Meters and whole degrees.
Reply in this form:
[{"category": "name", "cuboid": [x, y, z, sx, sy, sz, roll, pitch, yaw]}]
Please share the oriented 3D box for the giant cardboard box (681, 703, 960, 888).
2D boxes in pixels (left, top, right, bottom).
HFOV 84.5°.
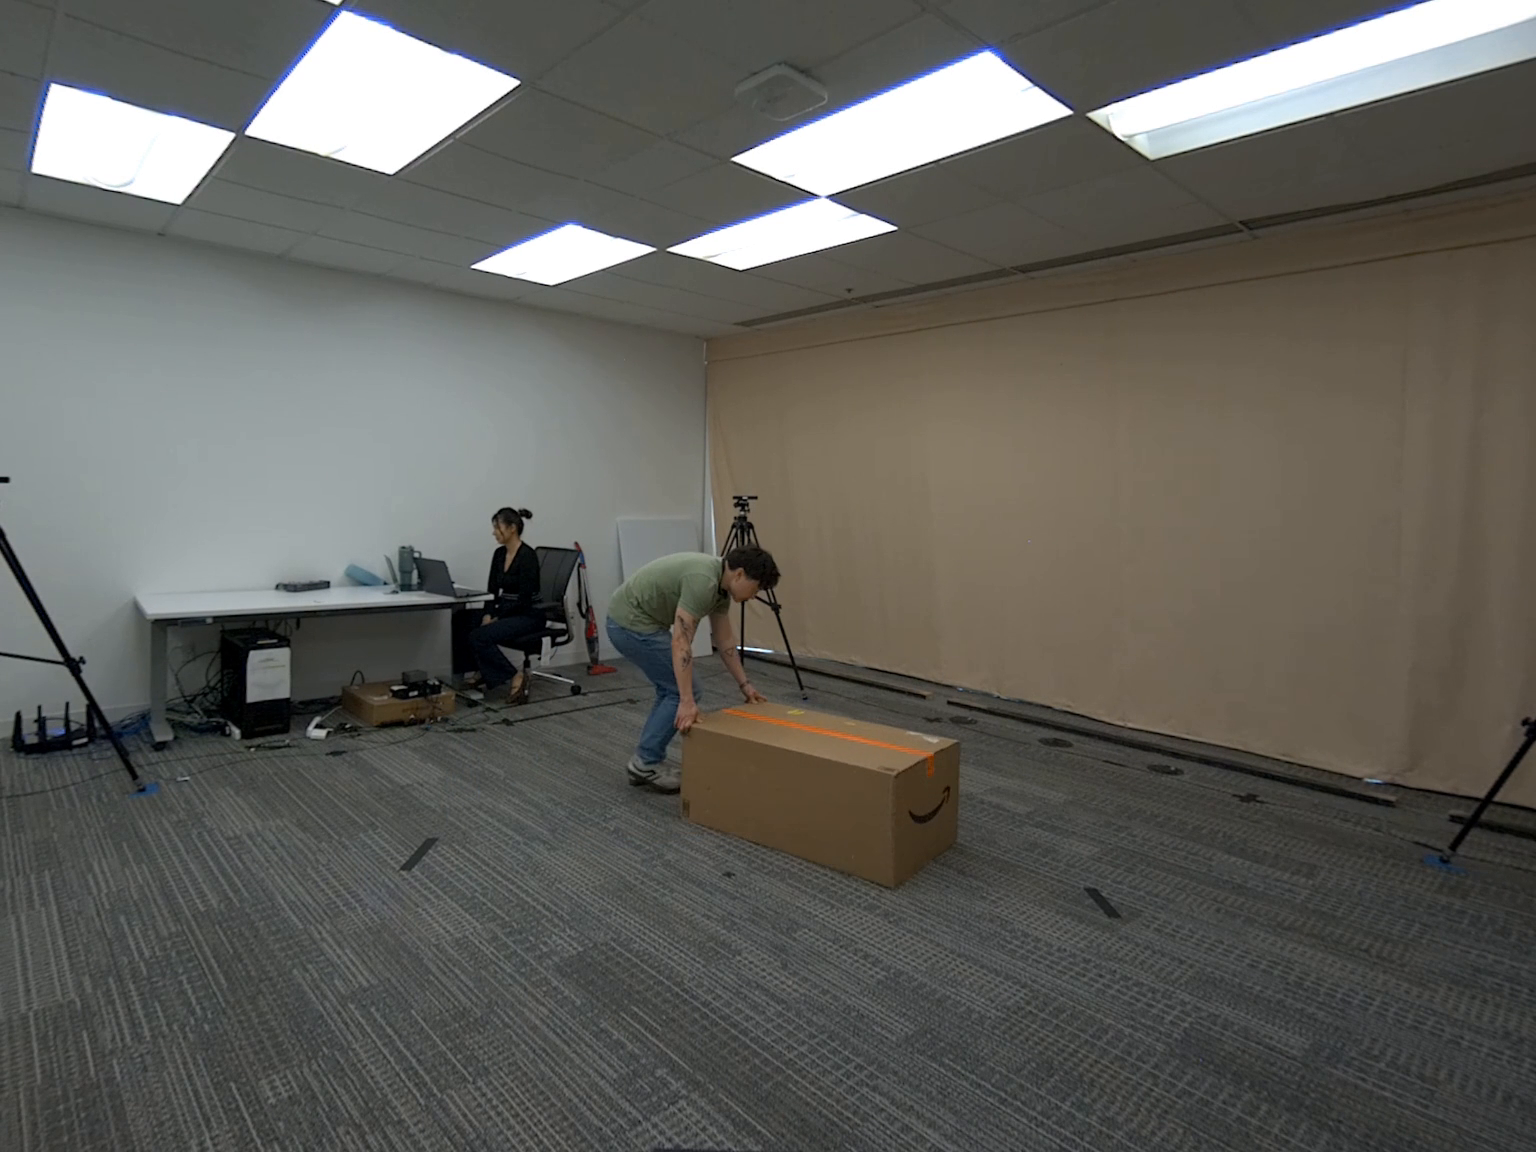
[{"category": "giant cardboard box", "cuboid": [0.198, 0.861, 3.537, 1.051, 0.425, 0.565, 4, 5, 37]}]
